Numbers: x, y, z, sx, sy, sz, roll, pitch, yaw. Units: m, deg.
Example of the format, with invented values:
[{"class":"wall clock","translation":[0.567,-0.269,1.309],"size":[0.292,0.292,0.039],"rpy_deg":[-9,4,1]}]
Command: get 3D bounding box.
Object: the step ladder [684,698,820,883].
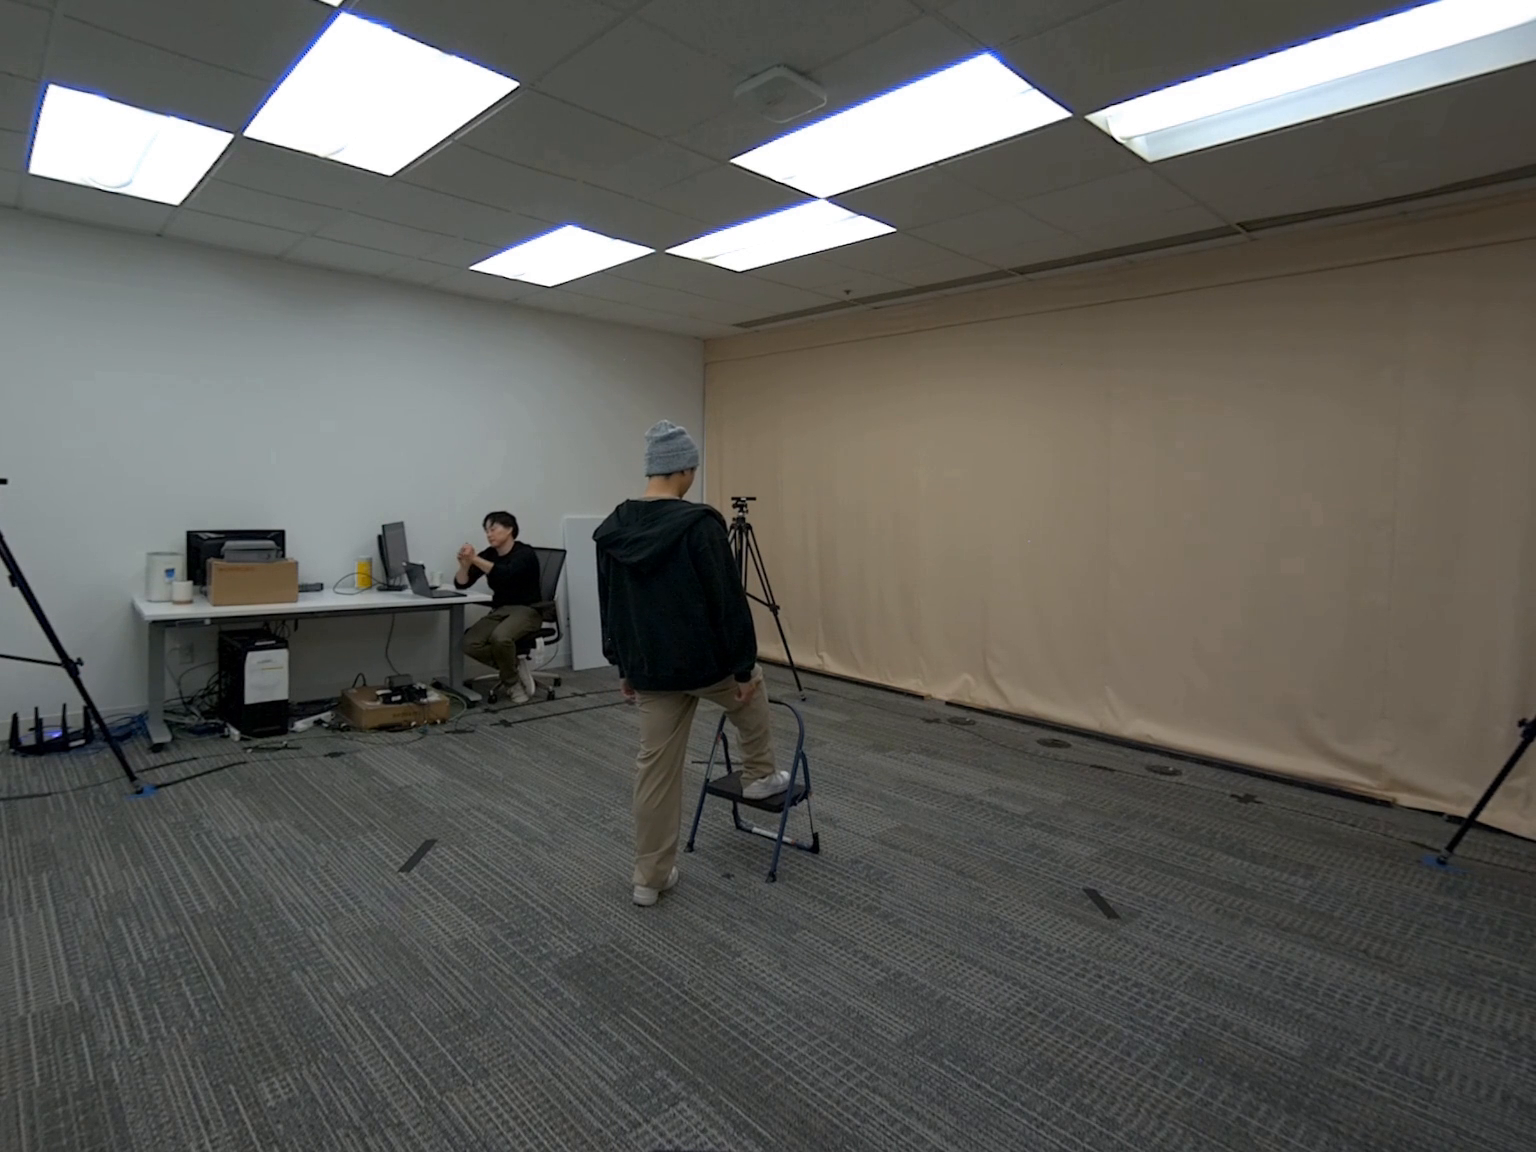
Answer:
[{"class":"step ladder","translation":[-0.054,0.788,3.307],"size":[0.441,0.605,0.342],"rpy_deg":[4,4,36]}]
